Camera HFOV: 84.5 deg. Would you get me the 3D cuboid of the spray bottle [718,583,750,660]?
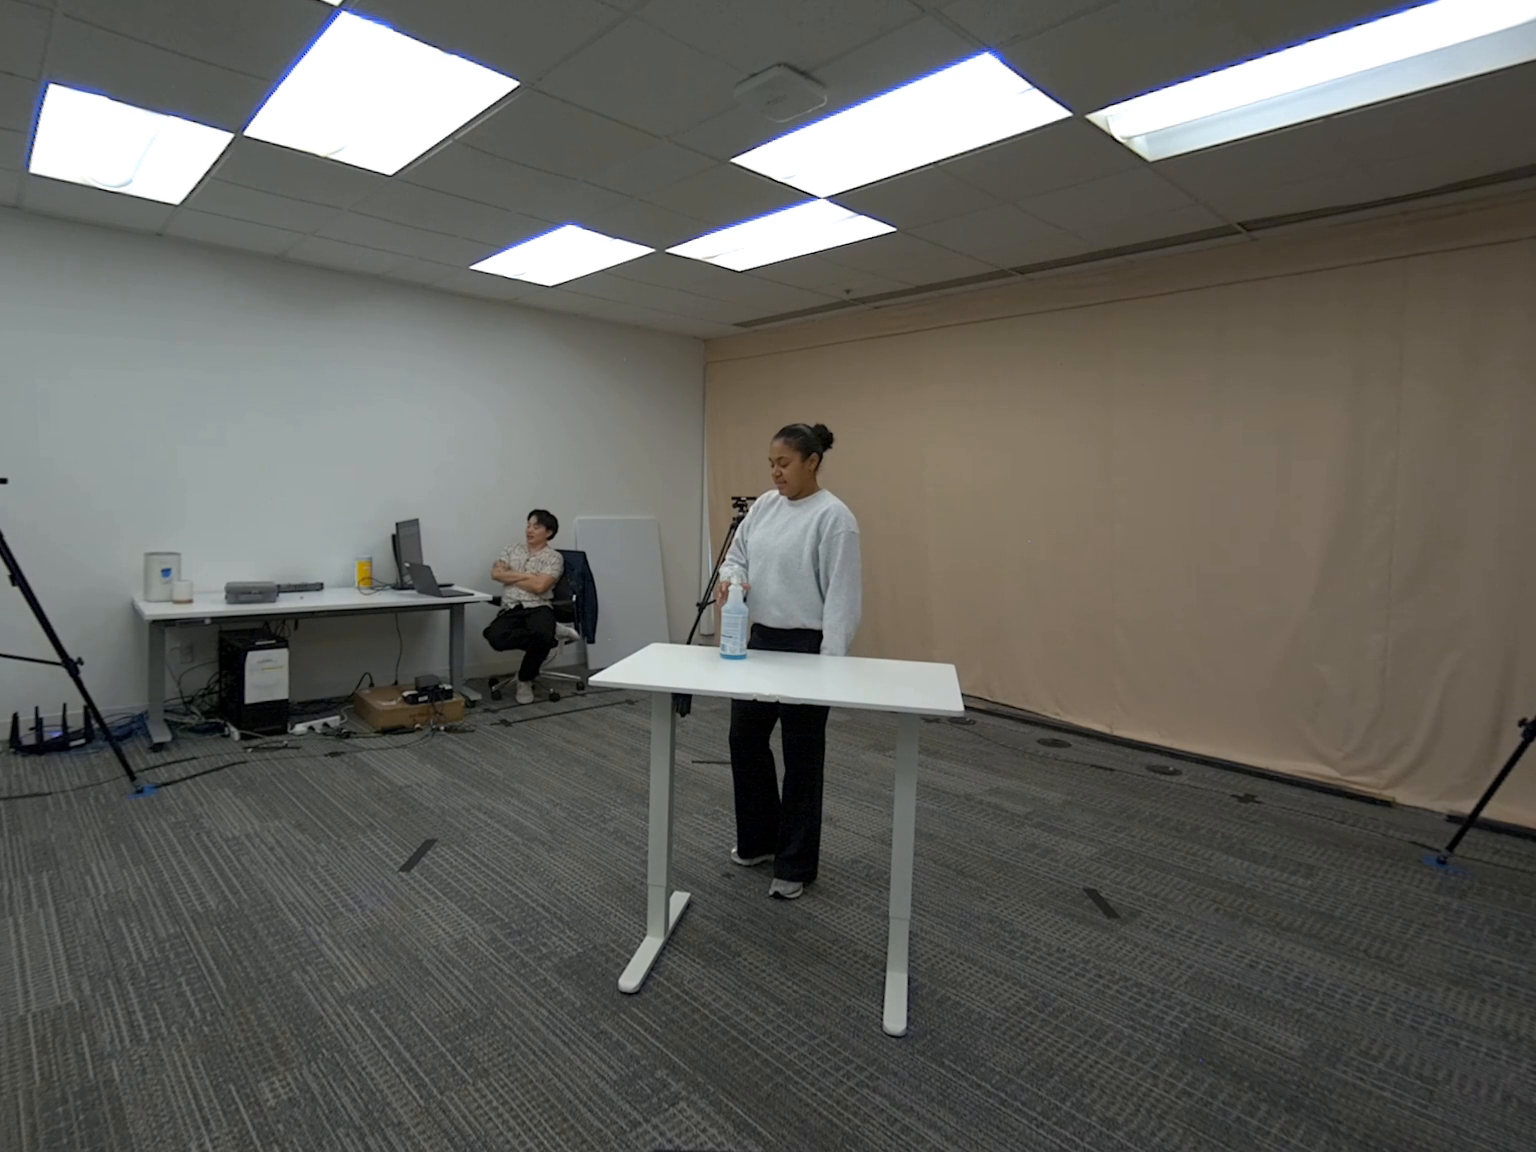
[{"bbox_3d":[-0.116,0.115,2.677,0.089,0.297,0.088,3,4,25],"label":"spray bottle"}]
